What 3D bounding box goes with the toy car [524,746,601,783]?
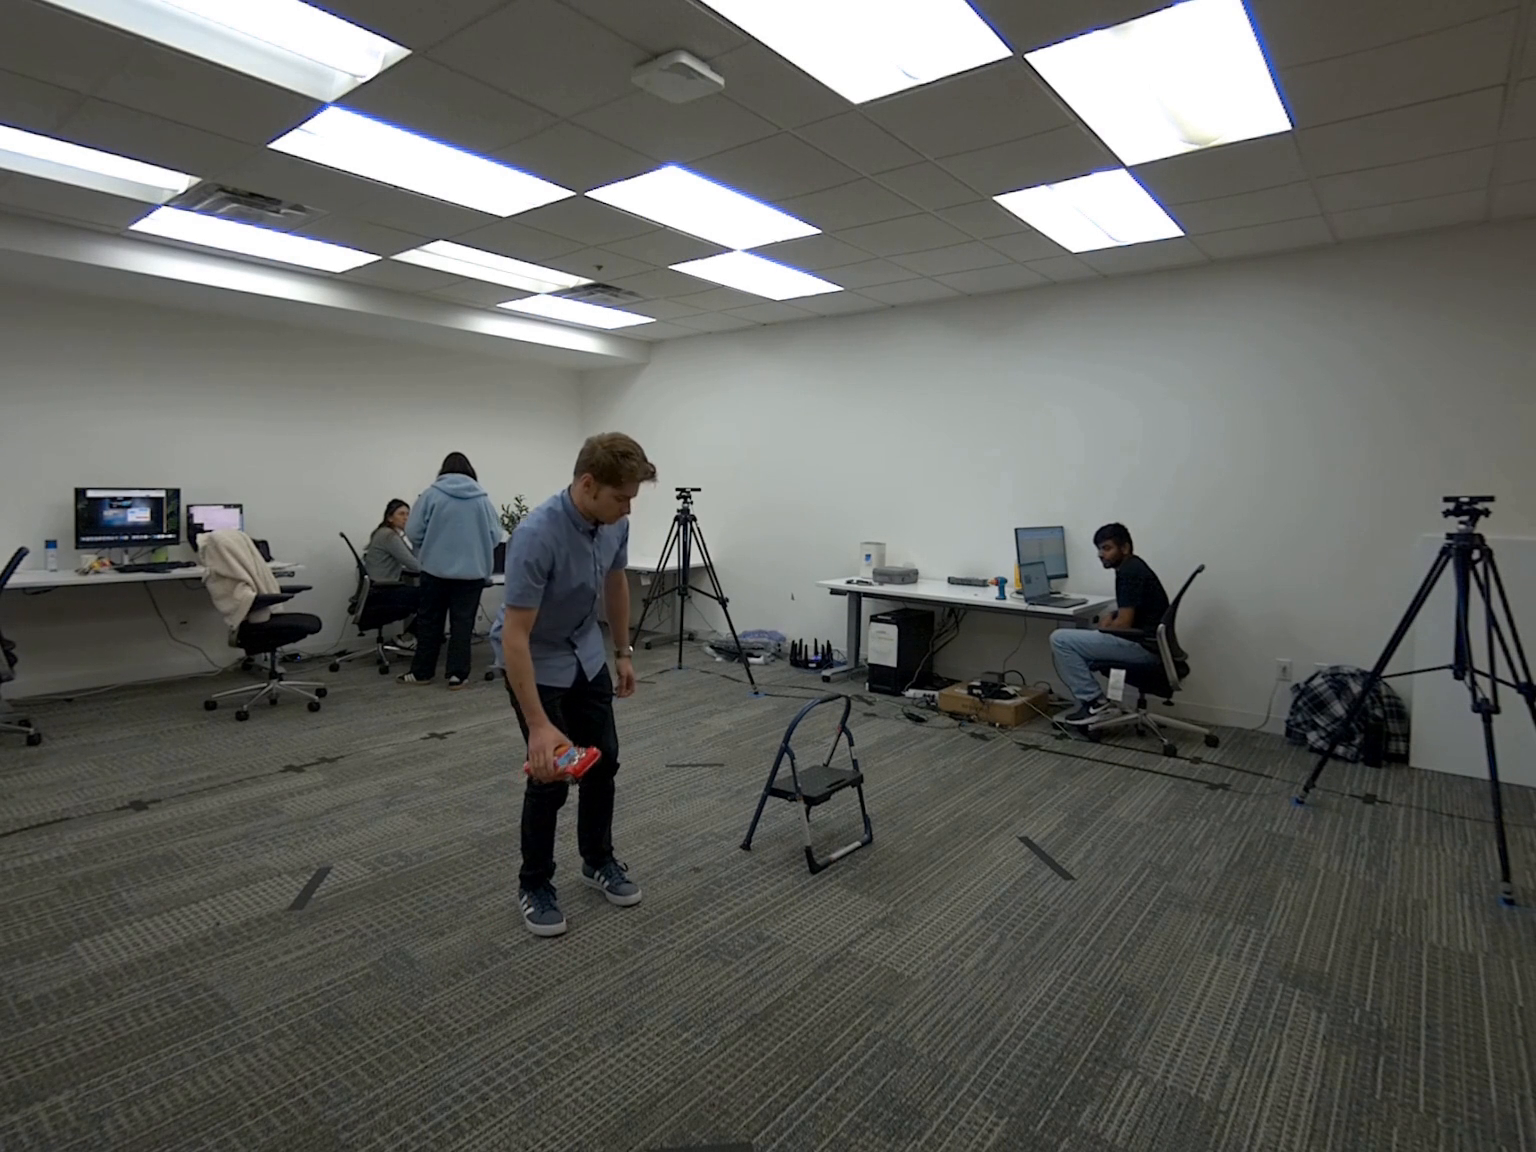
[{"bbox_3d":[-0.594,0.532,2.390,0.262,0.081,0.130,0,29,36],"label":"toy car"}]
